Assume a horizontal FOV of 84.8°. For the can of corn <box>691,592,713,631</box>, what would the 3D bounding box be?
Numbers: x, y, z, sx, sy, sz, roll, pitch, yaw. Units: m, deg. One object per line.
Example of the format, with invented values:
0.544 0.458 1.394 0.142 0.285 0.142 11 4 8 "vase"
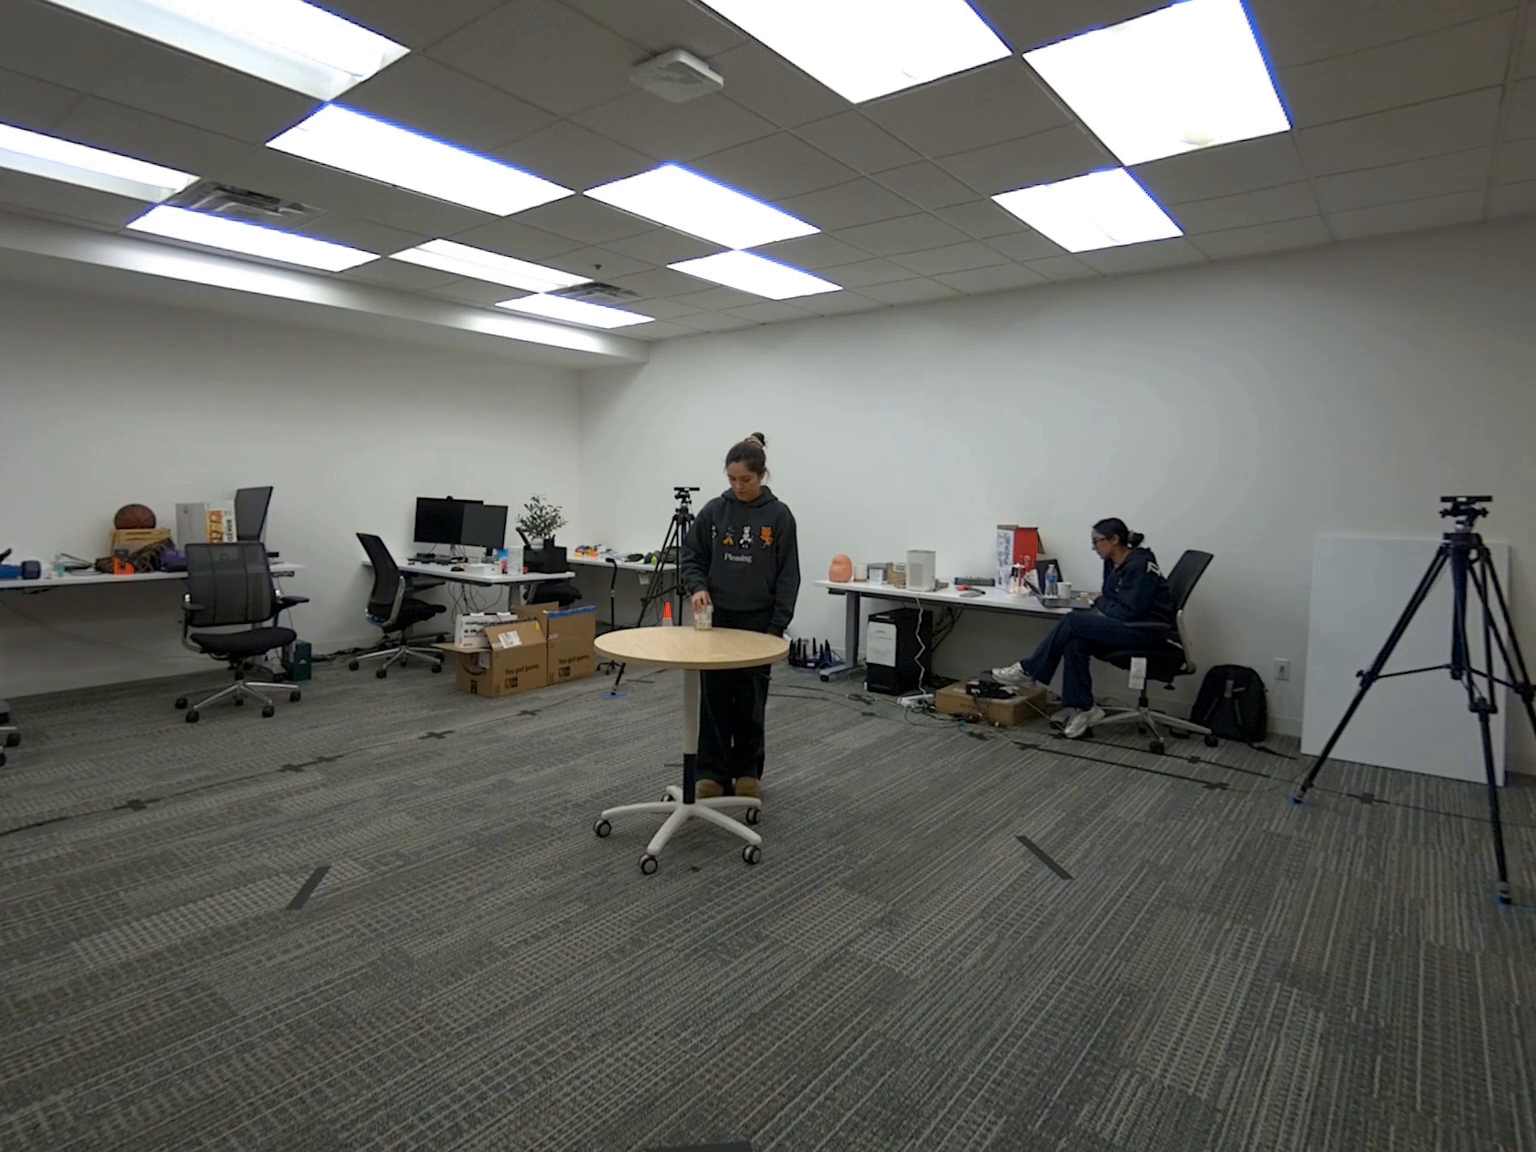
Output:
-0.294 0.166 3.682 0.074 0.111 0.074 2 3 -2 "can of corn"
